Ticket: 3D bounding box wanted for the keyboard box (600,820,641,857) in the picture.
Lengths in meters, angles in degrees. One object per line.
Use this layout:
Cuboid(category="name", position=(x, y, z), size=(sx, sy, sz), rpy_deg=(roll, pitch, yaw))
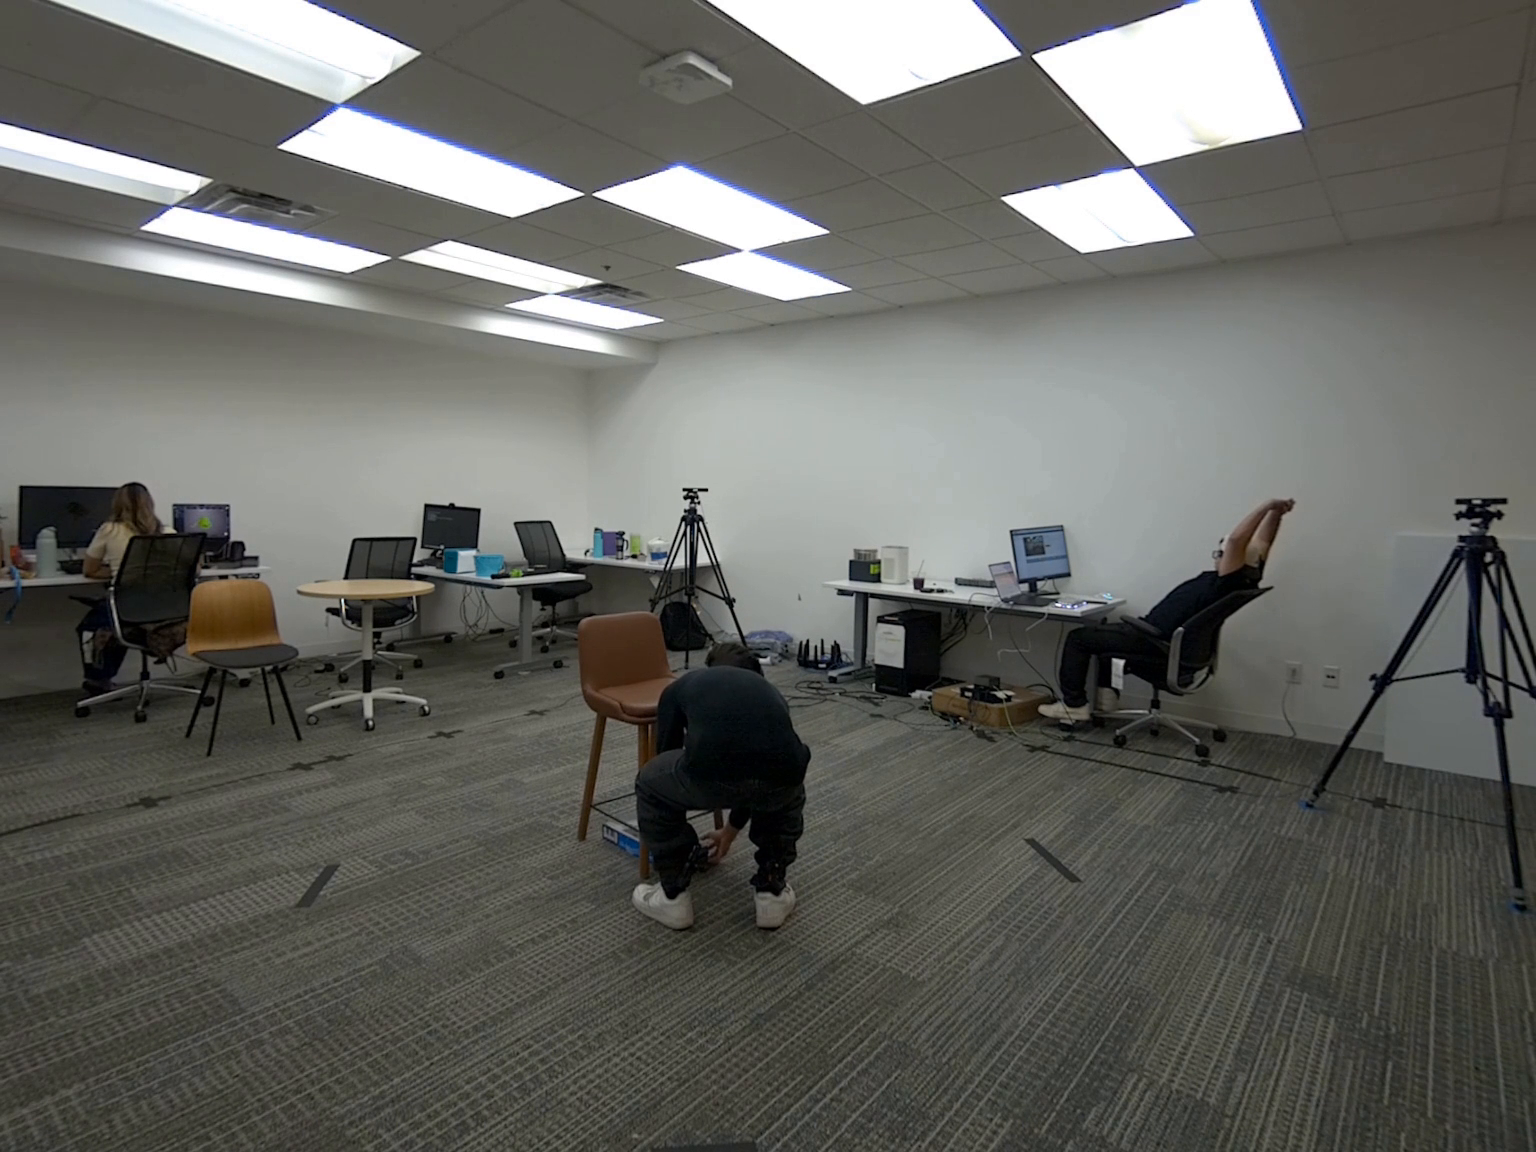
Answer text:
Cuboid(category="keyboard box", position=(-0.449, 1.019, 3.274), size=(0.170, 0.059, 0.452), rpy_deg=(-2, 5, -45))
